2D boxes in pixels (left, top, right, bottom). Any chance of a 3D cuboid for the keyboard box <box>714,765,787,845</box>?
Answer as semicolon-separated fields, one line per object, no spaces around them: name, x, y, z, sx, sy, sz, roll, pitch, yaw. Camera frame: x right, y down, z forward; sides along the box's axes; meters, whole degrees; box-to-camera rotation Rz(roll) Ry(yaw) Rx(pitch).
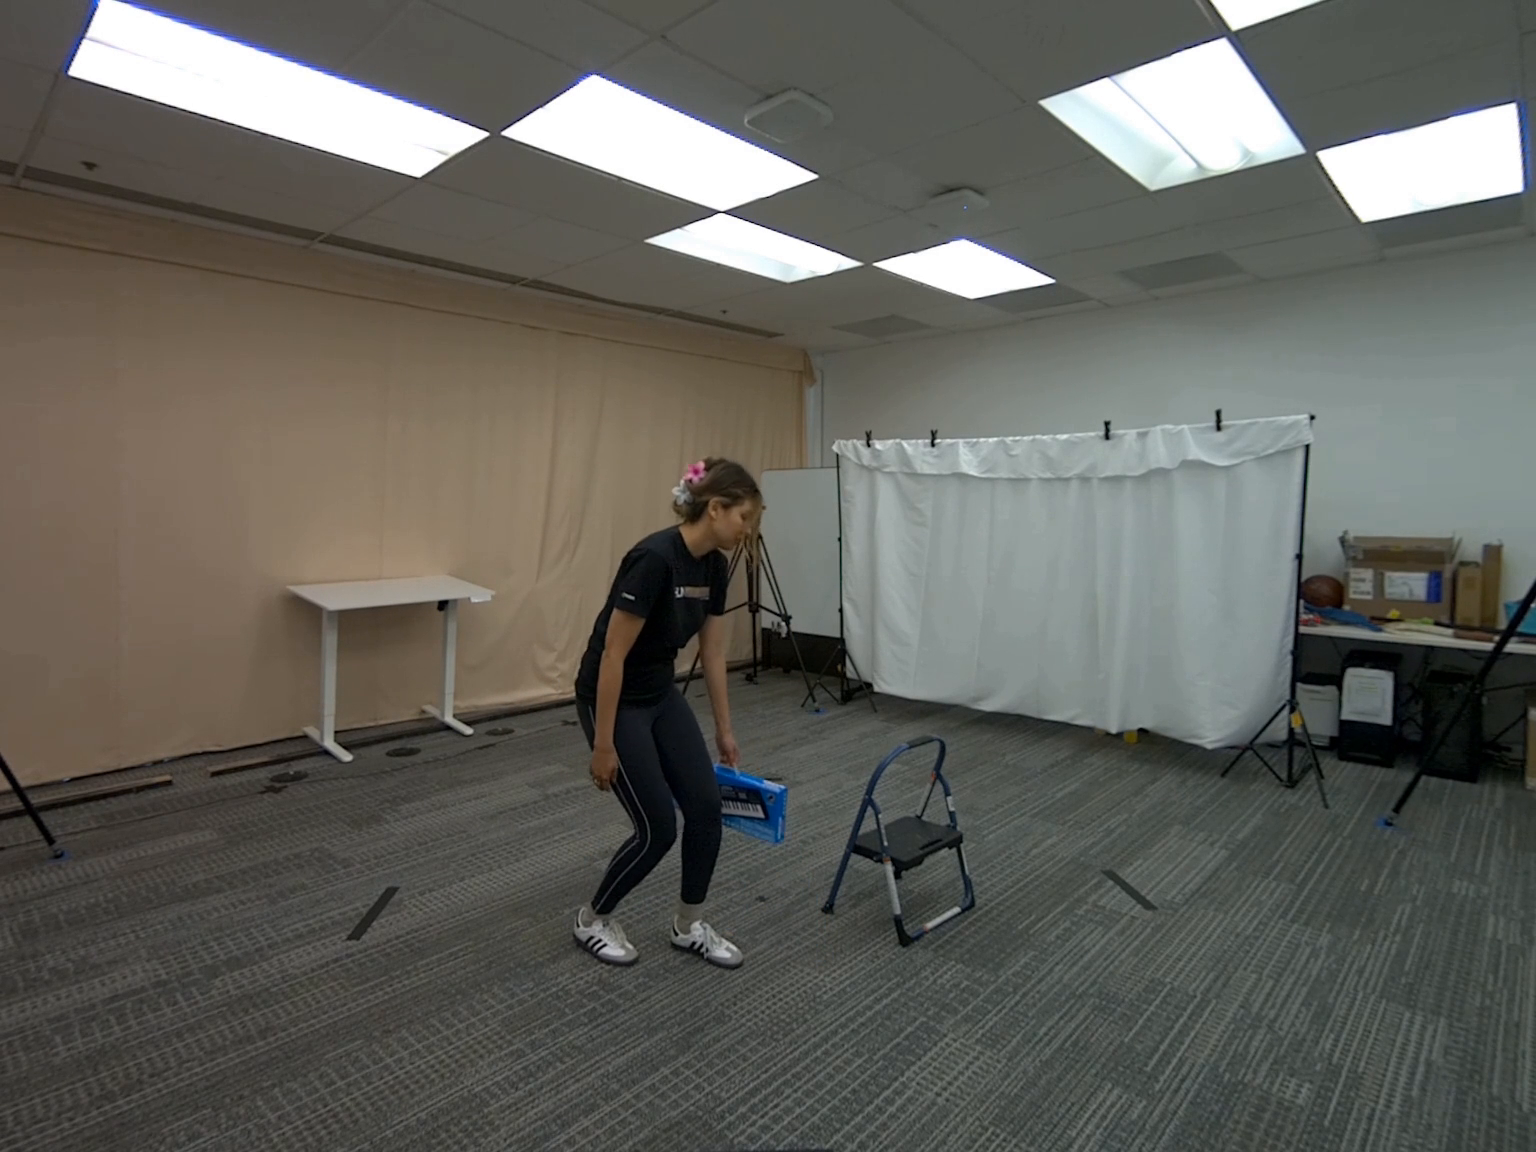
keyboard box;-0.143;0.729;2.759;0.451;0.175;0.057;8;8;33
